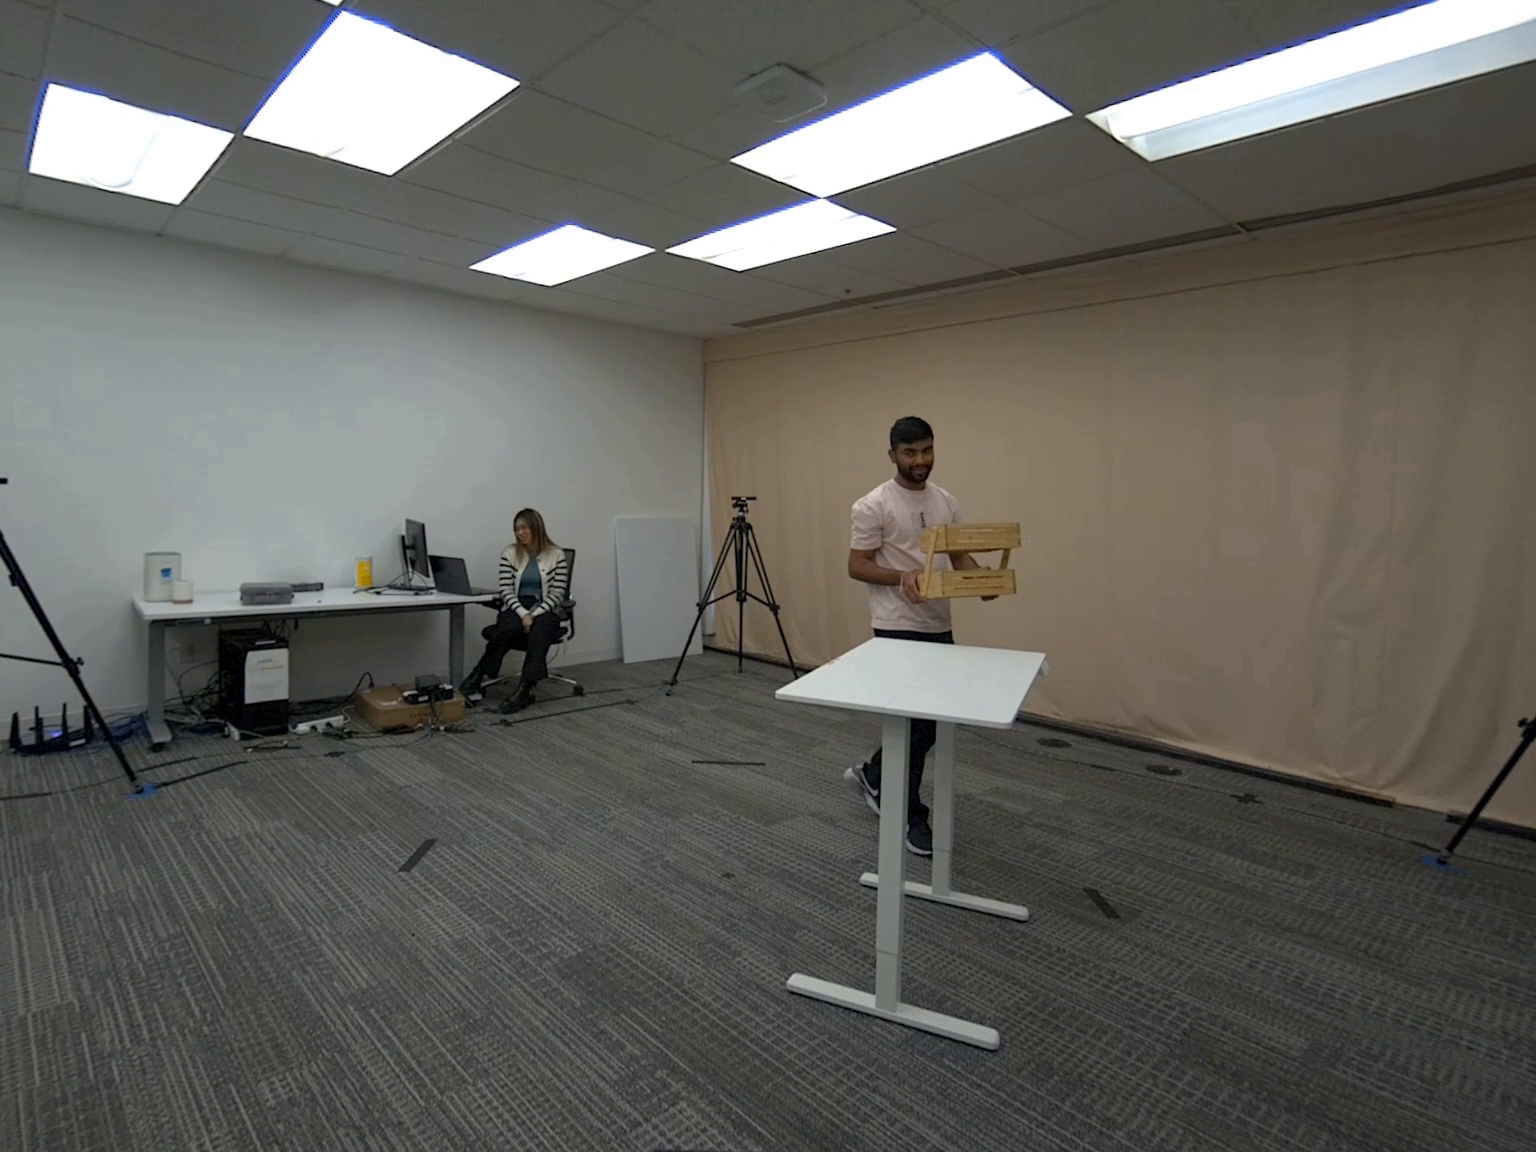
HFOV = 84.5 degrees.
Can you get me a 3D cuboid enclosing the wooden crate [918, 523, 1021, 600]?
[{"bbox_3d":[0.730,-0.055,3.154,0.321,0.274,0.304,-2,-4,-15],"label":"wooden crate"}]
